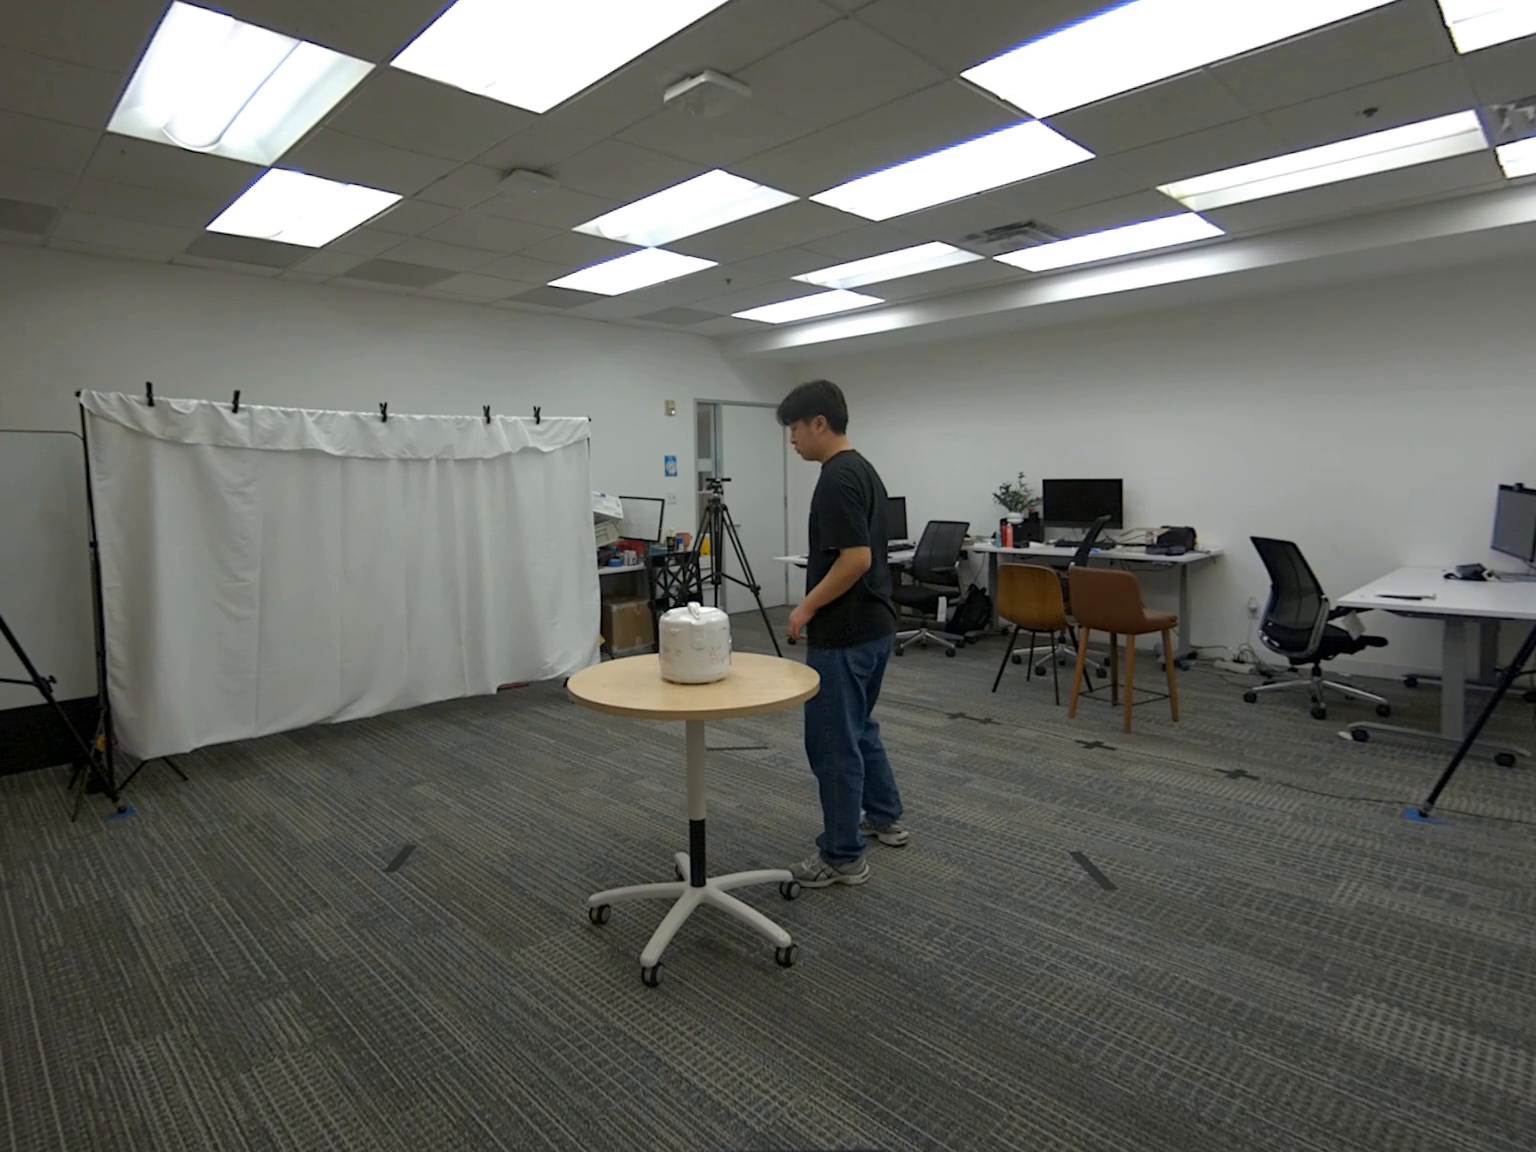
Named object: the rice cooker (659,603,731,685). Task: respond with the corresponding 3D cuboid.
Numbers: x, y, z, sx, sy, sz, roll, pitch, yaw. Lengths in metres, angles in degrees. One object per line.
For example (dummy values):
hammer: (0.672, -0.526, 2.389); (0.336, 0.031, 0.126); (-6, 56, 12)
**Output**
rice cooker: (-0.217, 0.197, 2.587); (0.215, 0.232, 0.224); (-2, 6, -10)
